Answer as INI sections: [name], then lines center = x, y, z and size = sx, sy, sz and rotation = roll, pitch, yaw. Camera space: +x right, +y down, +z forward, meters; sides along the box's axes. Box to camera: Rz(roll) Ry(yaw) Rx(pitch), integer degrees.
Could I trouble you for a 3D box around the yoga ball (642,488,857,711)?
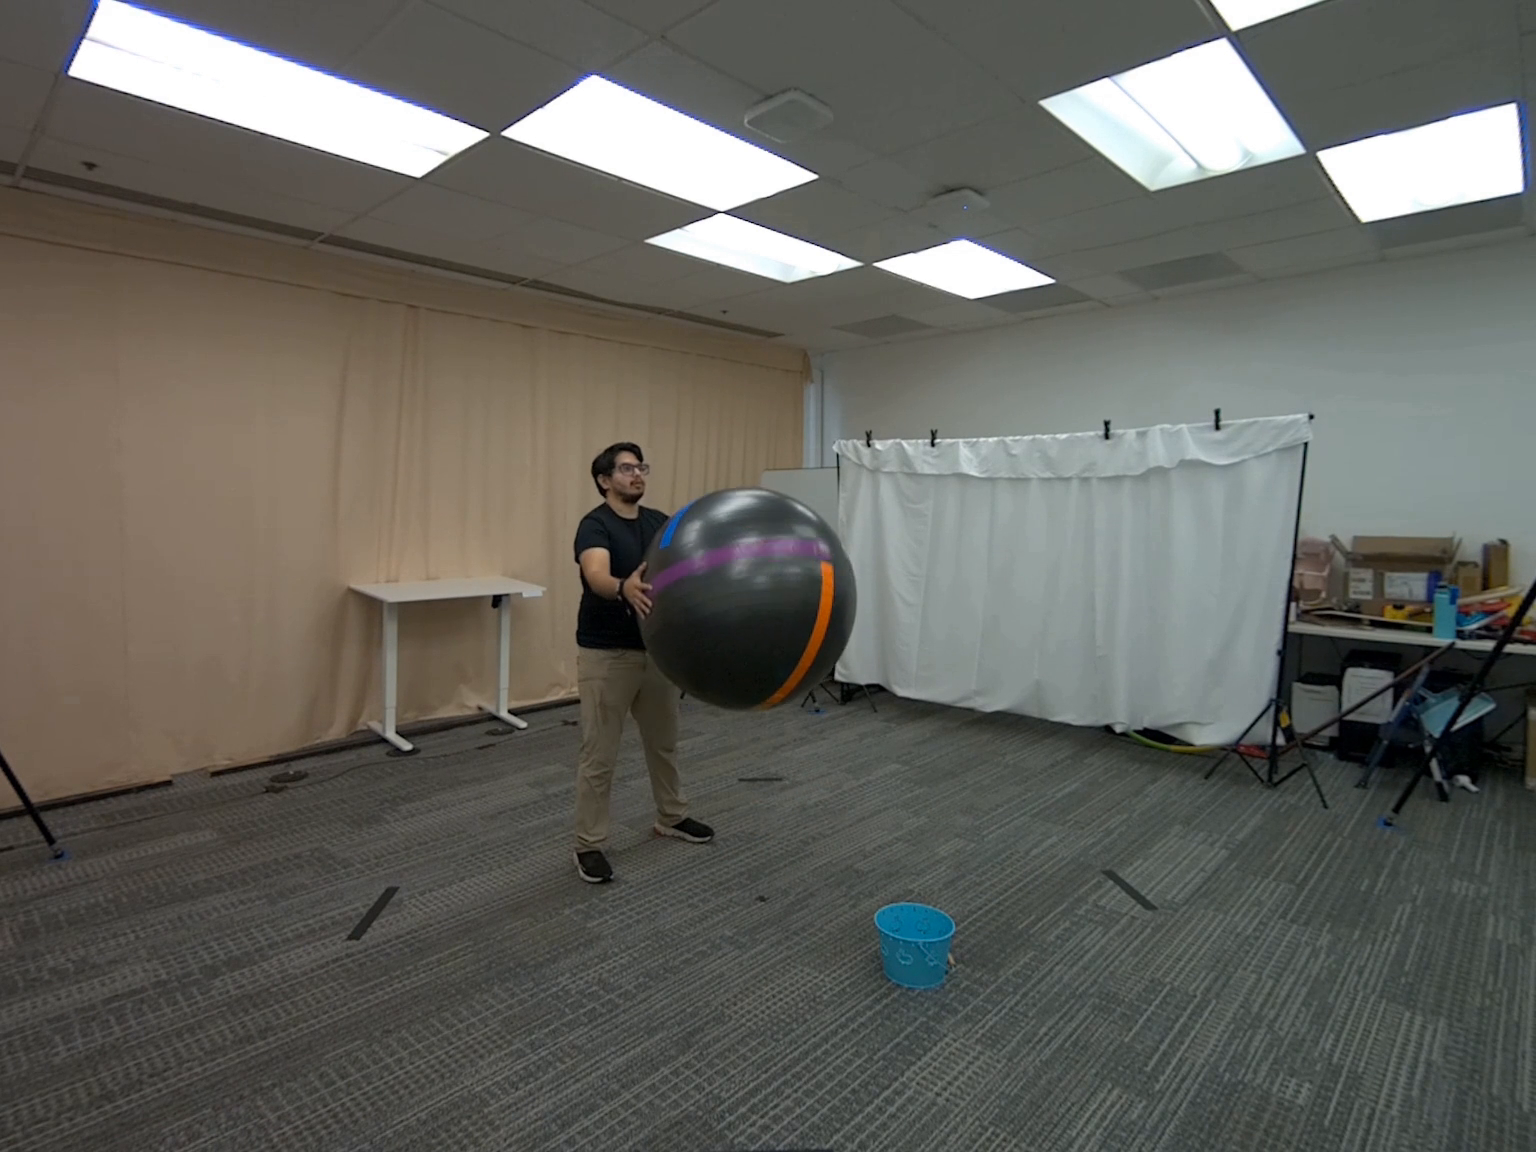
[yoga ball]
center = -0.081, 0.079, 2.896
size = 0.757, 0.756, 0.761
rotation = 0, 4, -2
